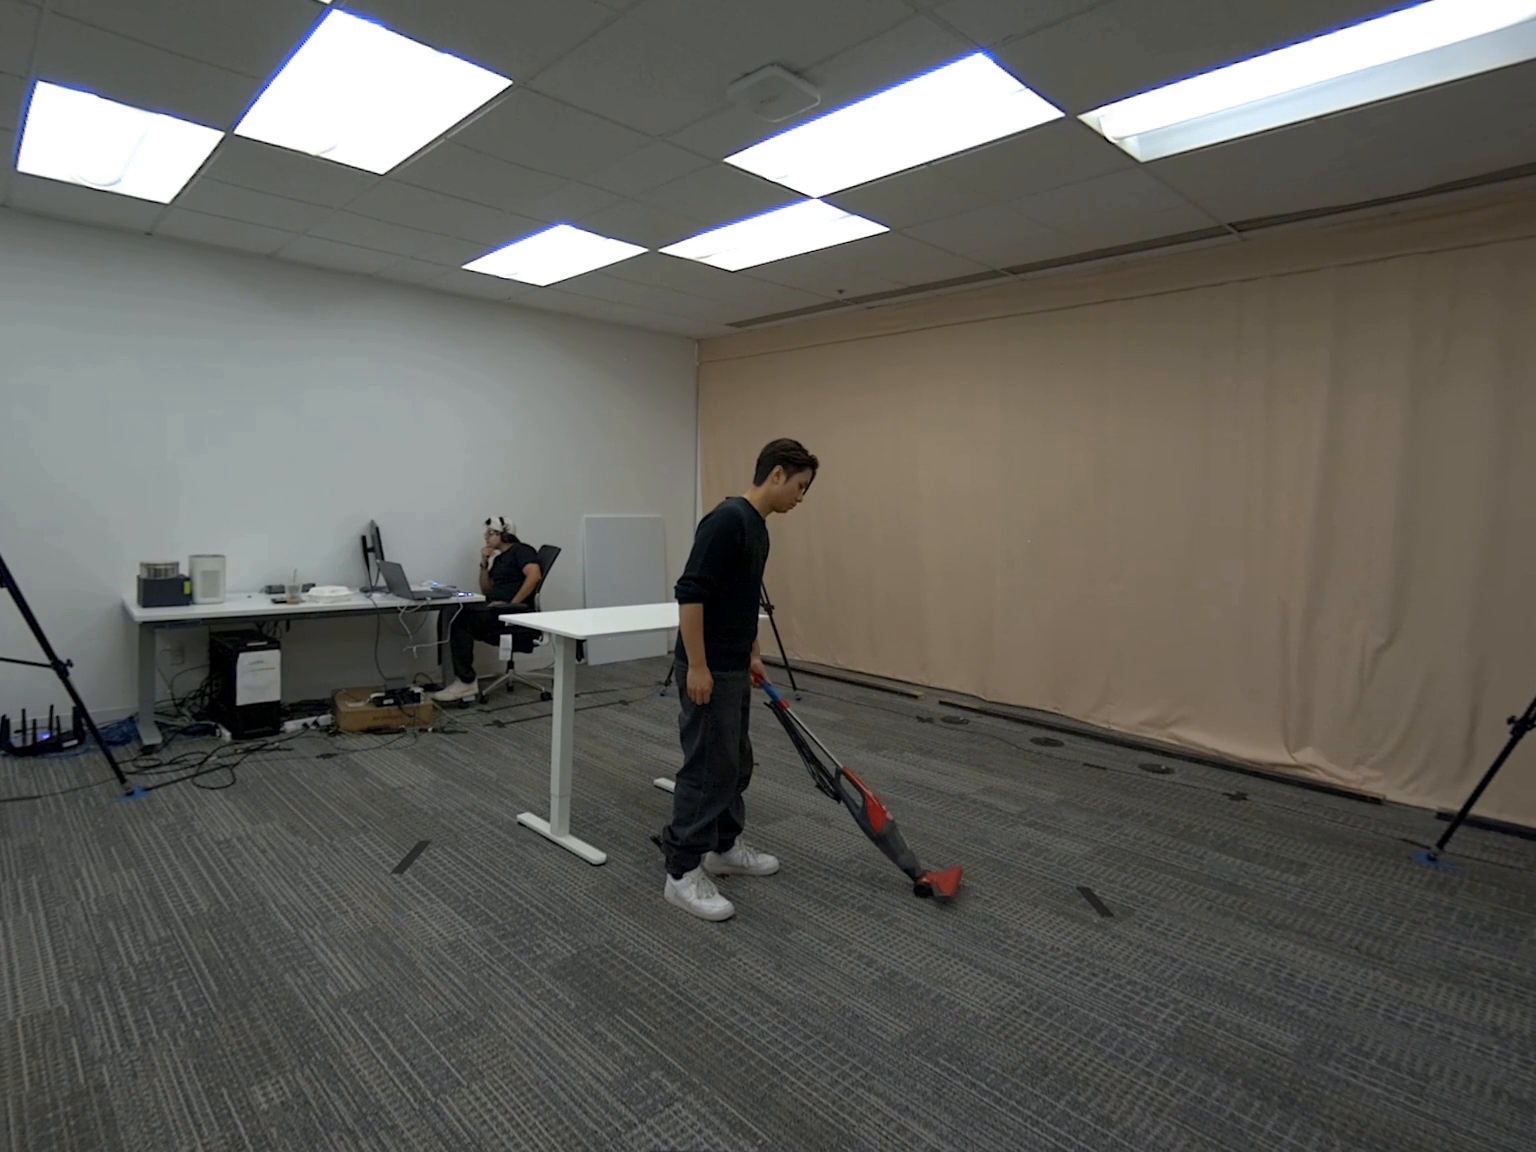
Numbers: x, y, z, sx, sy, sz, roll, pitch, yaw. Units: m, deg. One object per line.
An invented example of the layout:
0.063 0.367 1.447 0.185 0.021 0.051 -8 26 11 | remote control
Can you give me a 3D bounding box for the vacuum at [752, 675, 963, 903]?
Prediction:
0.251 0.748 3.146 1.067 0.144 0.248 45 16 16 | vacuum
